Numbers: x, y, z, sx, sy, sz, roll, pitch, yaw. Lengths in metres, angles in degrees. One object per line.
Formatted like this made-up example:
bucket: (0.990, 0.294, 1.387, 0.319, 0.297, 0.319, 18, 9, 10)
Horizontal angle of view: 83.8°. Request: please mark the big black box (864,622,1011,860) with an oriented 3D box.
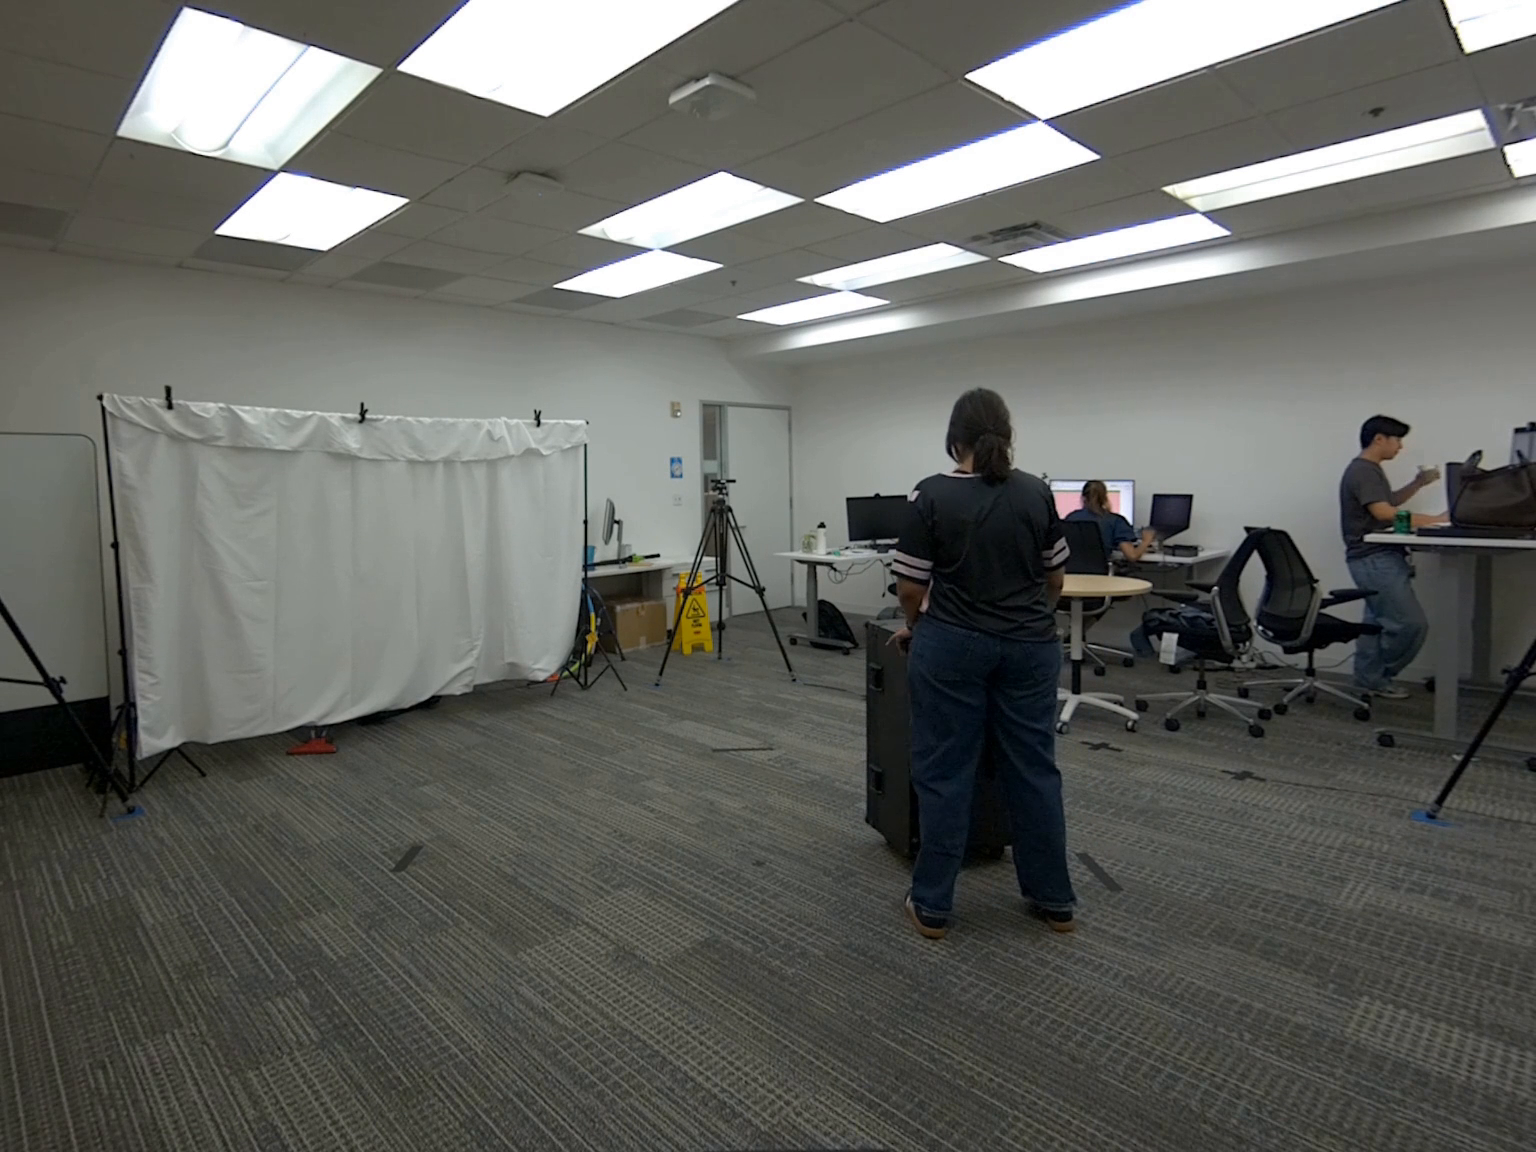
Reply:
big black box: (0.666, 0.606, 3.163, 0.516, 0.865, 0.392, -2, 5, -16)
